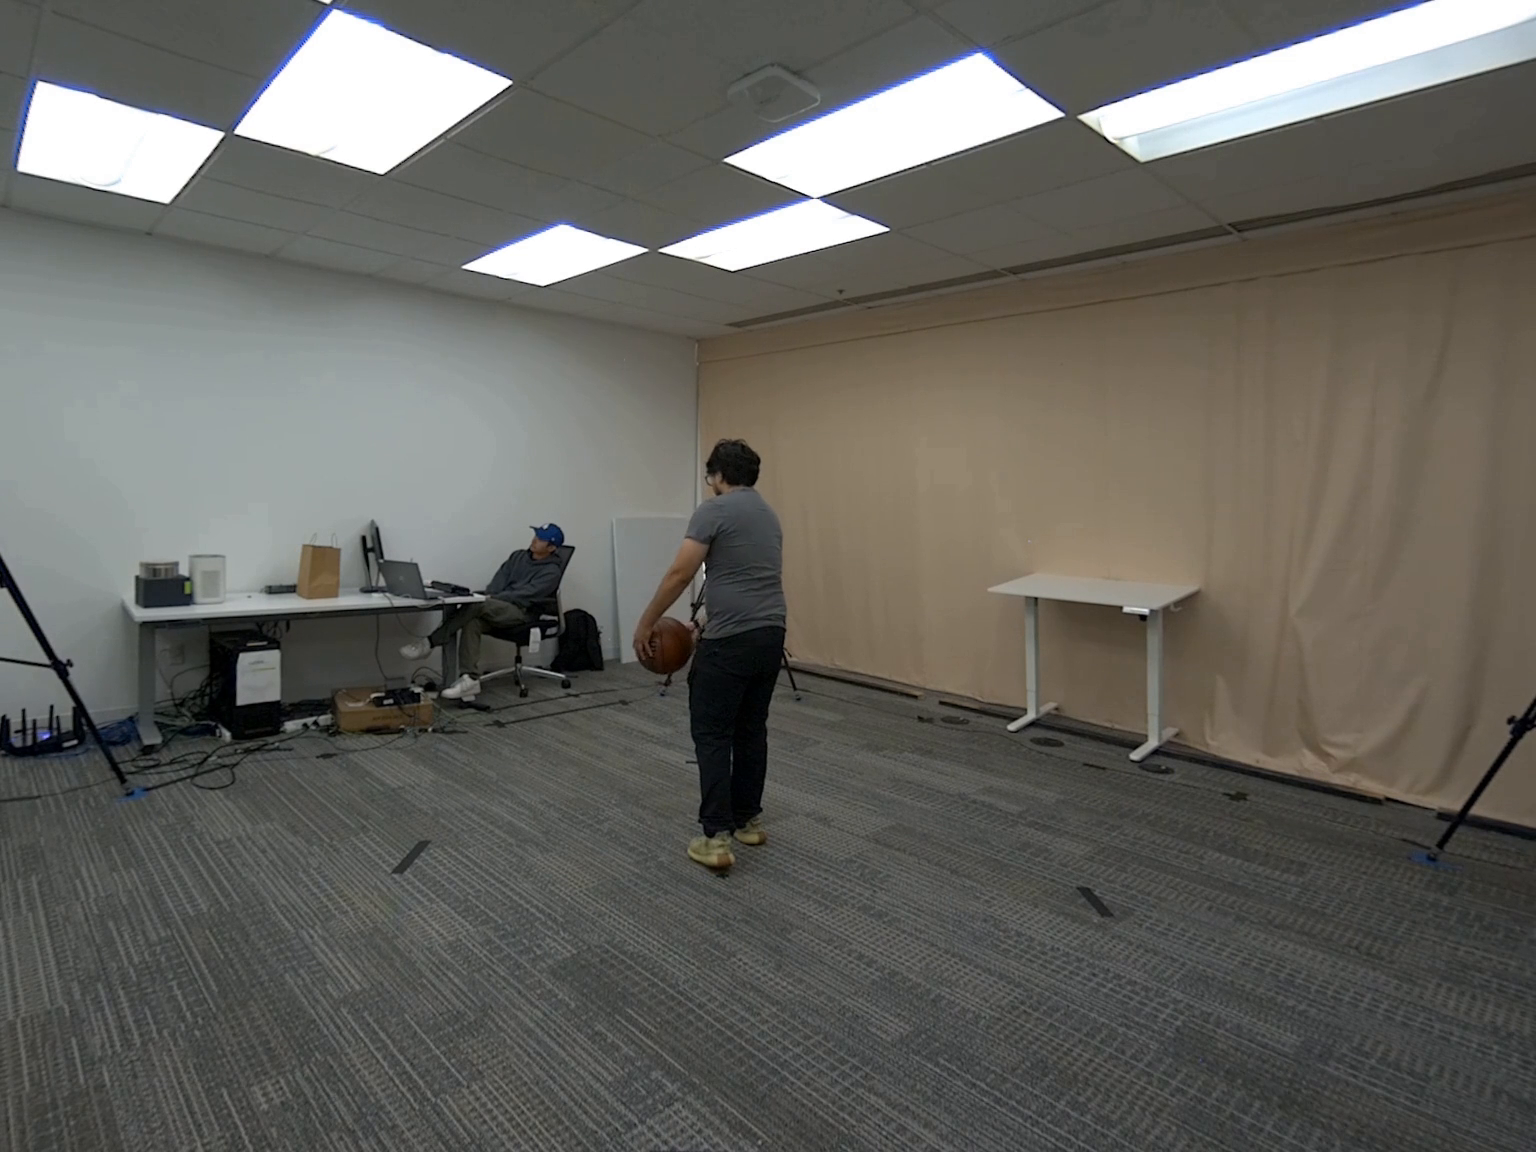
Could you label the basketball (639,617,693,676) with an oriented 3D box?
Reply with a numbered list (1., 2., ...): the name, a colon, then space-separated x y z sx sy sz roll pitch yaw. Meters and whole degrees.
1. basketball: -0.435 0.281 3.482 0.236 0.235 0.237 1 4 -1
